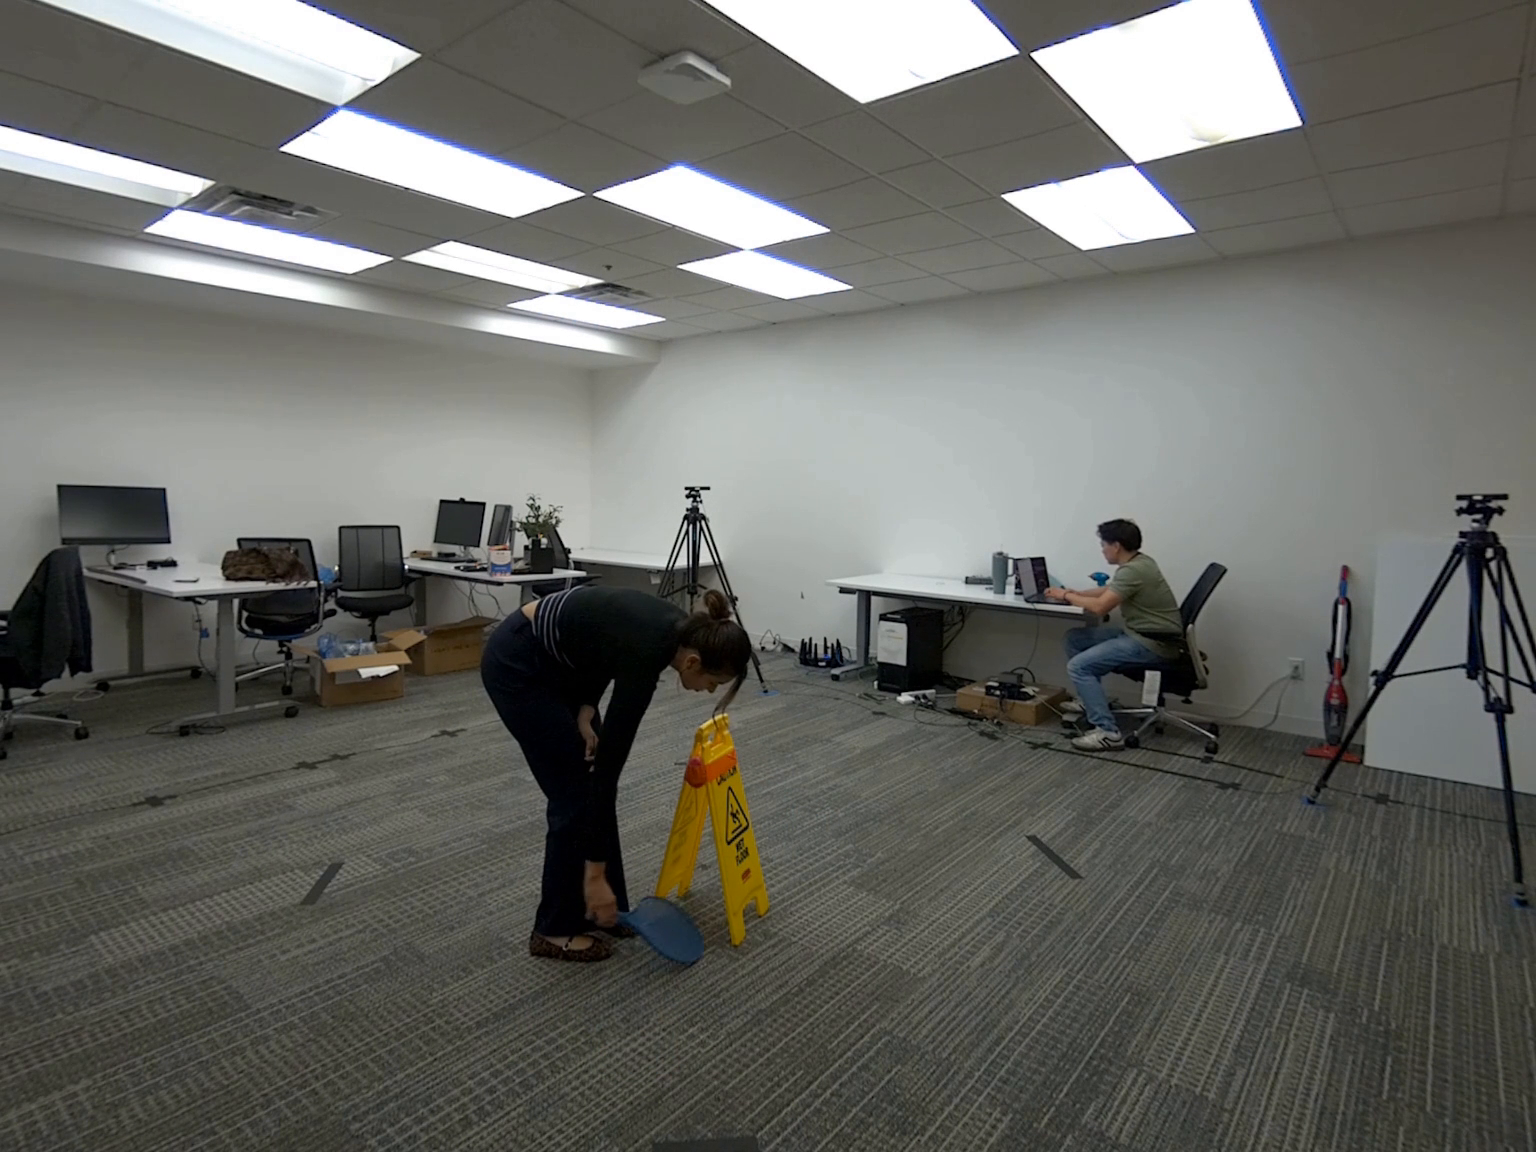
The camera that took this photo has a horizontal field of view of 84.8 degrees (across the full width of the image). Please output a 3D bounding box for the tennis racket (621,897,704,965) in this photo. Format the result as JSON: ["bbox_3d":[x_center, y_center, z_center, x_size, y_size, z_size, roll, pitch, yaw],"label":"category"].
[{"bbox_3d":[-0.378,1.001,2.419,0.415,0.032,0.222,37,15,-40],"label":"tennis racket"}]
